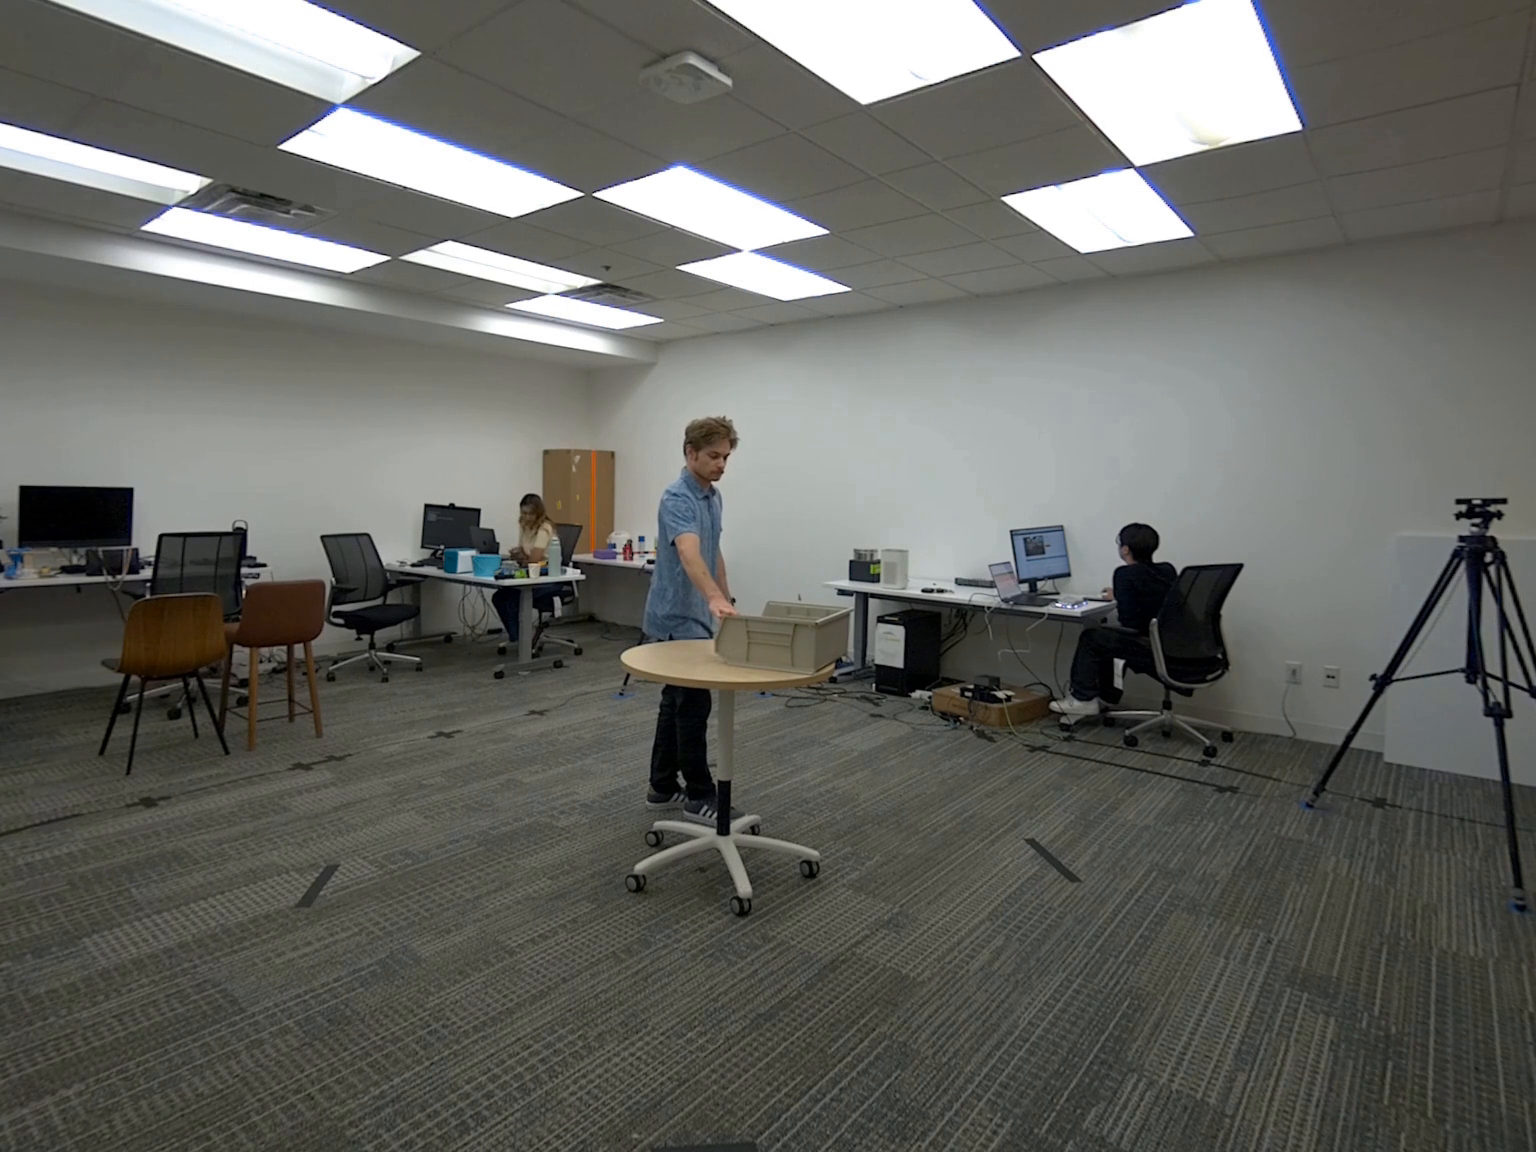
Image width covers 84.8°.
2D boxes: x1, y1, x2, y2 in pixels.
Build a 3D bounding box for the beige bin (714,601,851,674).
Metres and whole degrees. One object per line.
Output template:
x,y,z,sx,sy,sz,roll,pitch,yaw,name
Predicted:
0.052,0.209,3.050,0.387,0.188,0.413,5,6,23,beige bin
